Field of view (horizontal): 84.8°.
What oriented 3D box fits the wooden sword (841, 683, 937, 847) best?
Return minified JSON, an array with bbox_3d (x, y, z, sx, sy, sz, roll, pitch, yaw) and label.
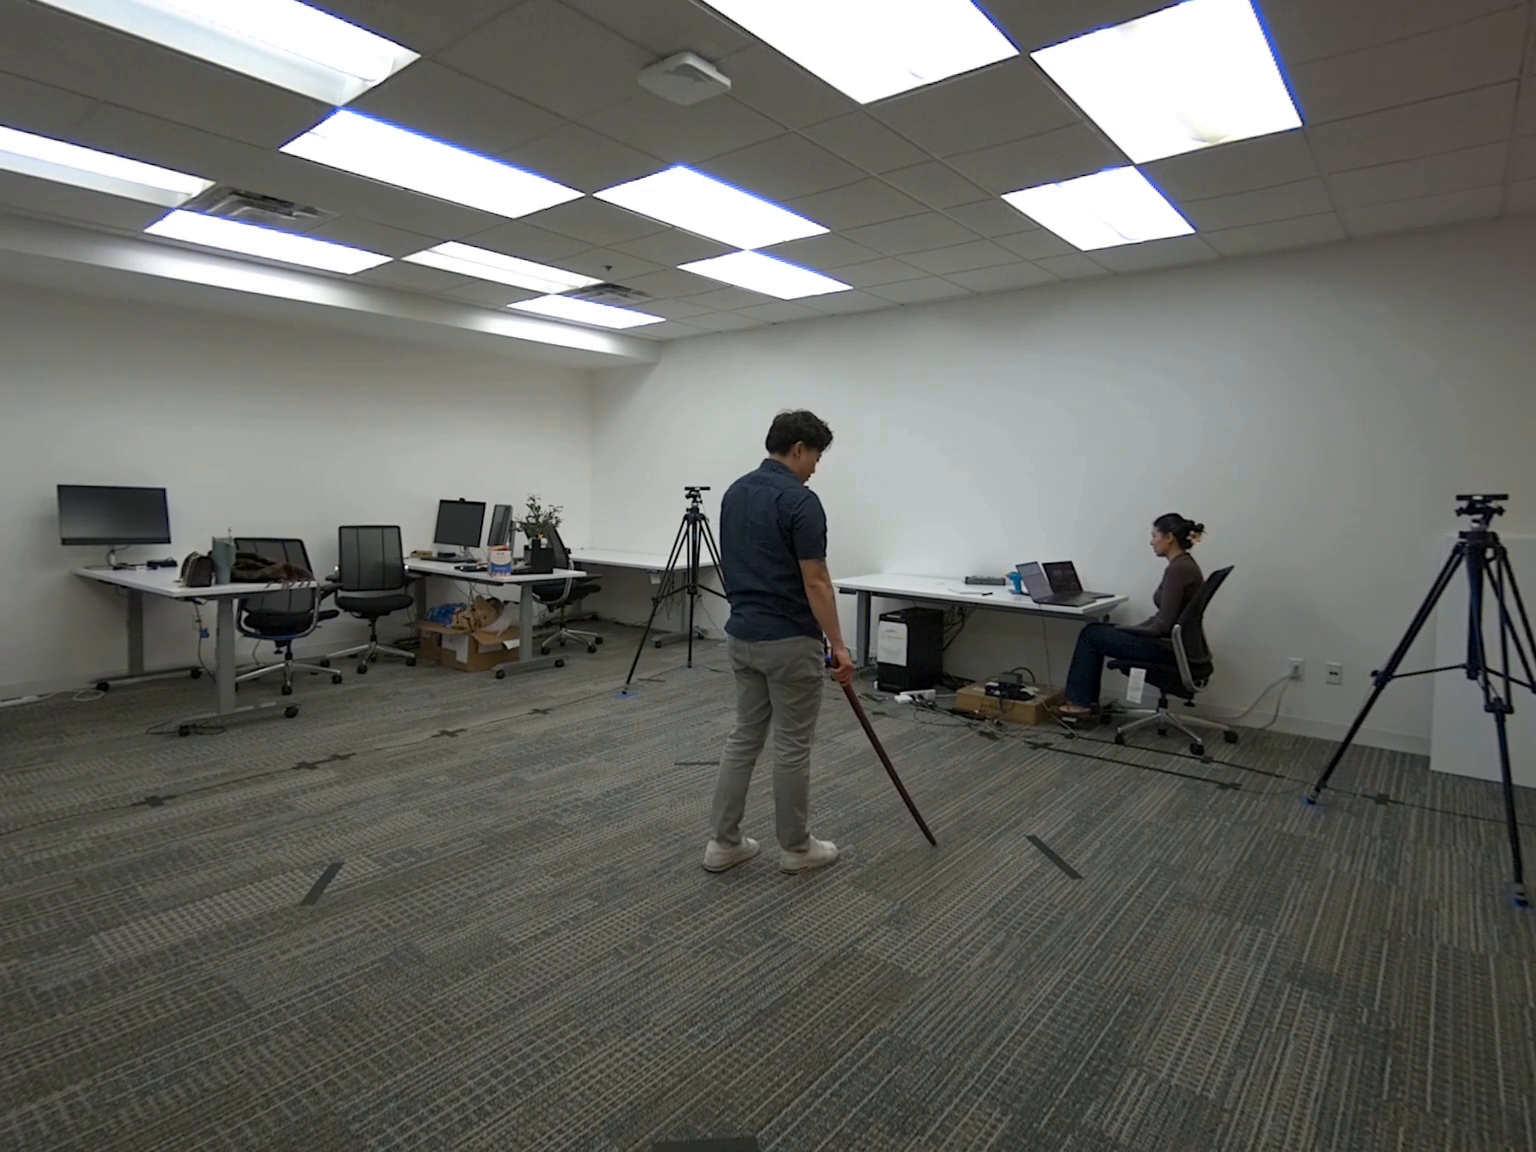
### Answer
[{"bbox_3d":[0.426,0.684,3.133,0.052,0.991,0.024,-9,34,36],"label":"wooden sword"}]
